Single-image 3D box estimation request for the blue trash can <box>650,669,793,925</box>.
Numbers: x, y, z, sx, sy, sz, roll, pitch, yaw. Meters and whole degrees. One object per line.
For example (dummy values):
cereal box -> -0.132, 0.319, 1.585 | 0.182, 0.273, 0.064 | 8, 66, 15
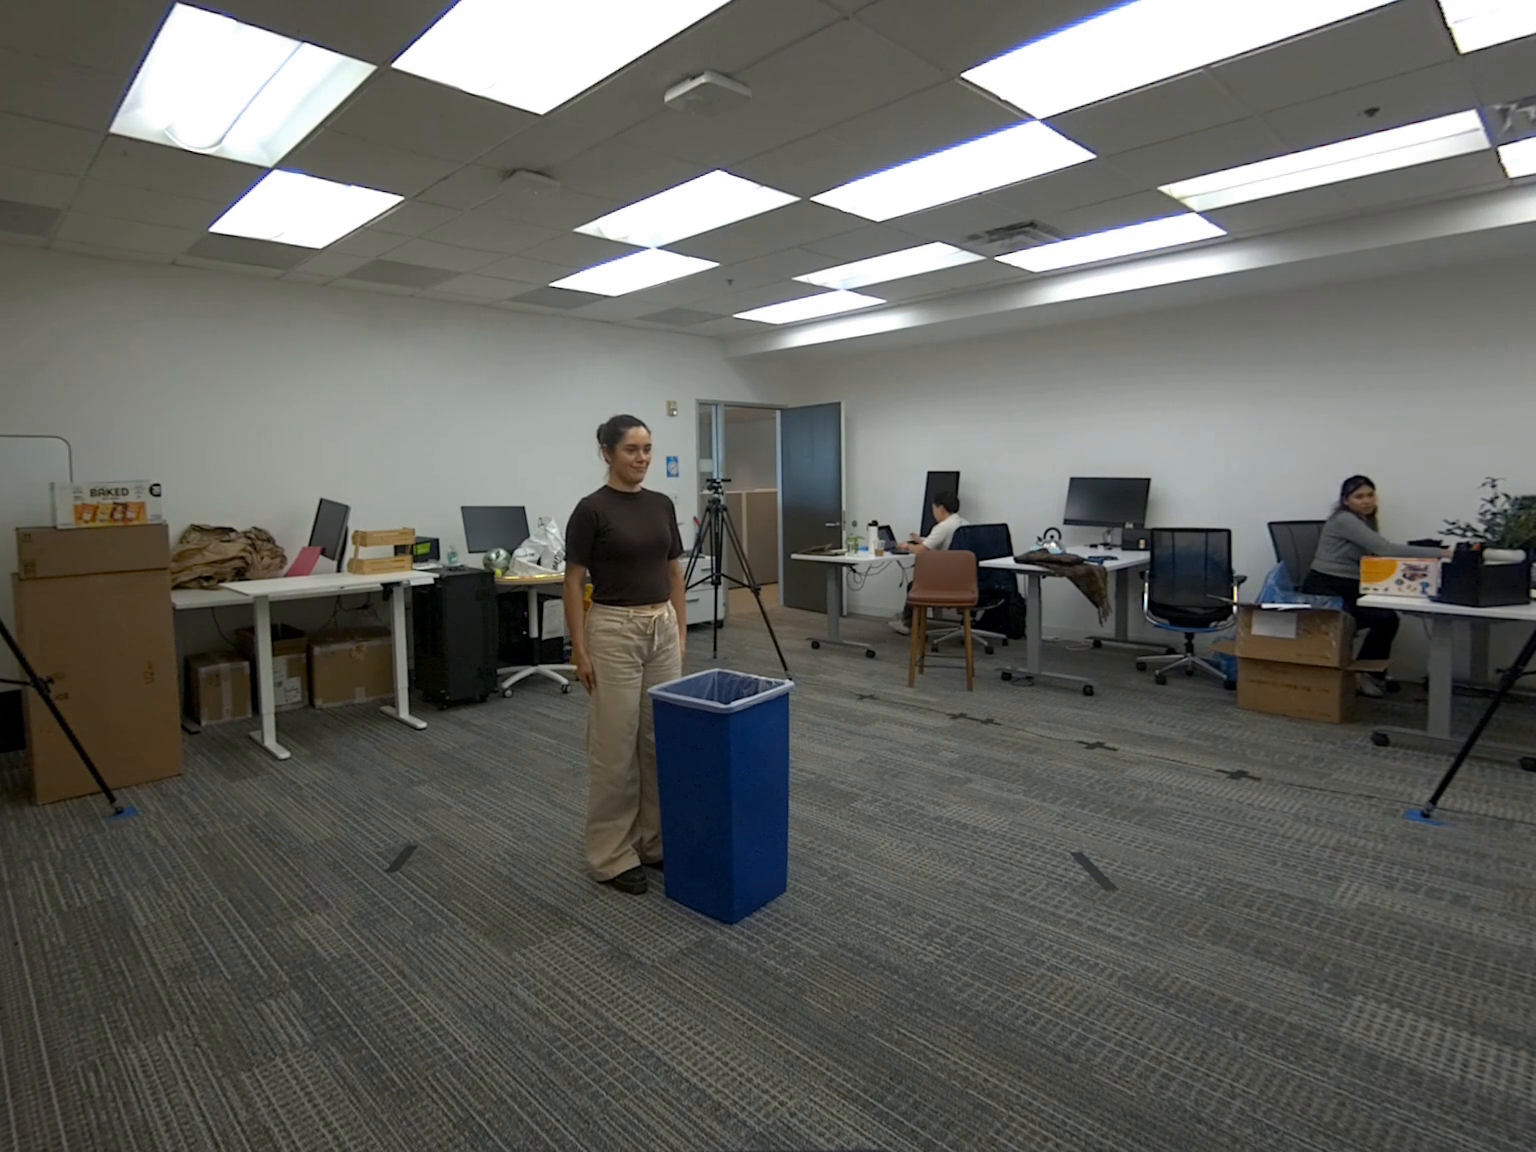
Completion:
blue trash can -> -0.153, 0.717, 2.853 | 0.385, 0.710, 0.368 | 3, 6, 39
